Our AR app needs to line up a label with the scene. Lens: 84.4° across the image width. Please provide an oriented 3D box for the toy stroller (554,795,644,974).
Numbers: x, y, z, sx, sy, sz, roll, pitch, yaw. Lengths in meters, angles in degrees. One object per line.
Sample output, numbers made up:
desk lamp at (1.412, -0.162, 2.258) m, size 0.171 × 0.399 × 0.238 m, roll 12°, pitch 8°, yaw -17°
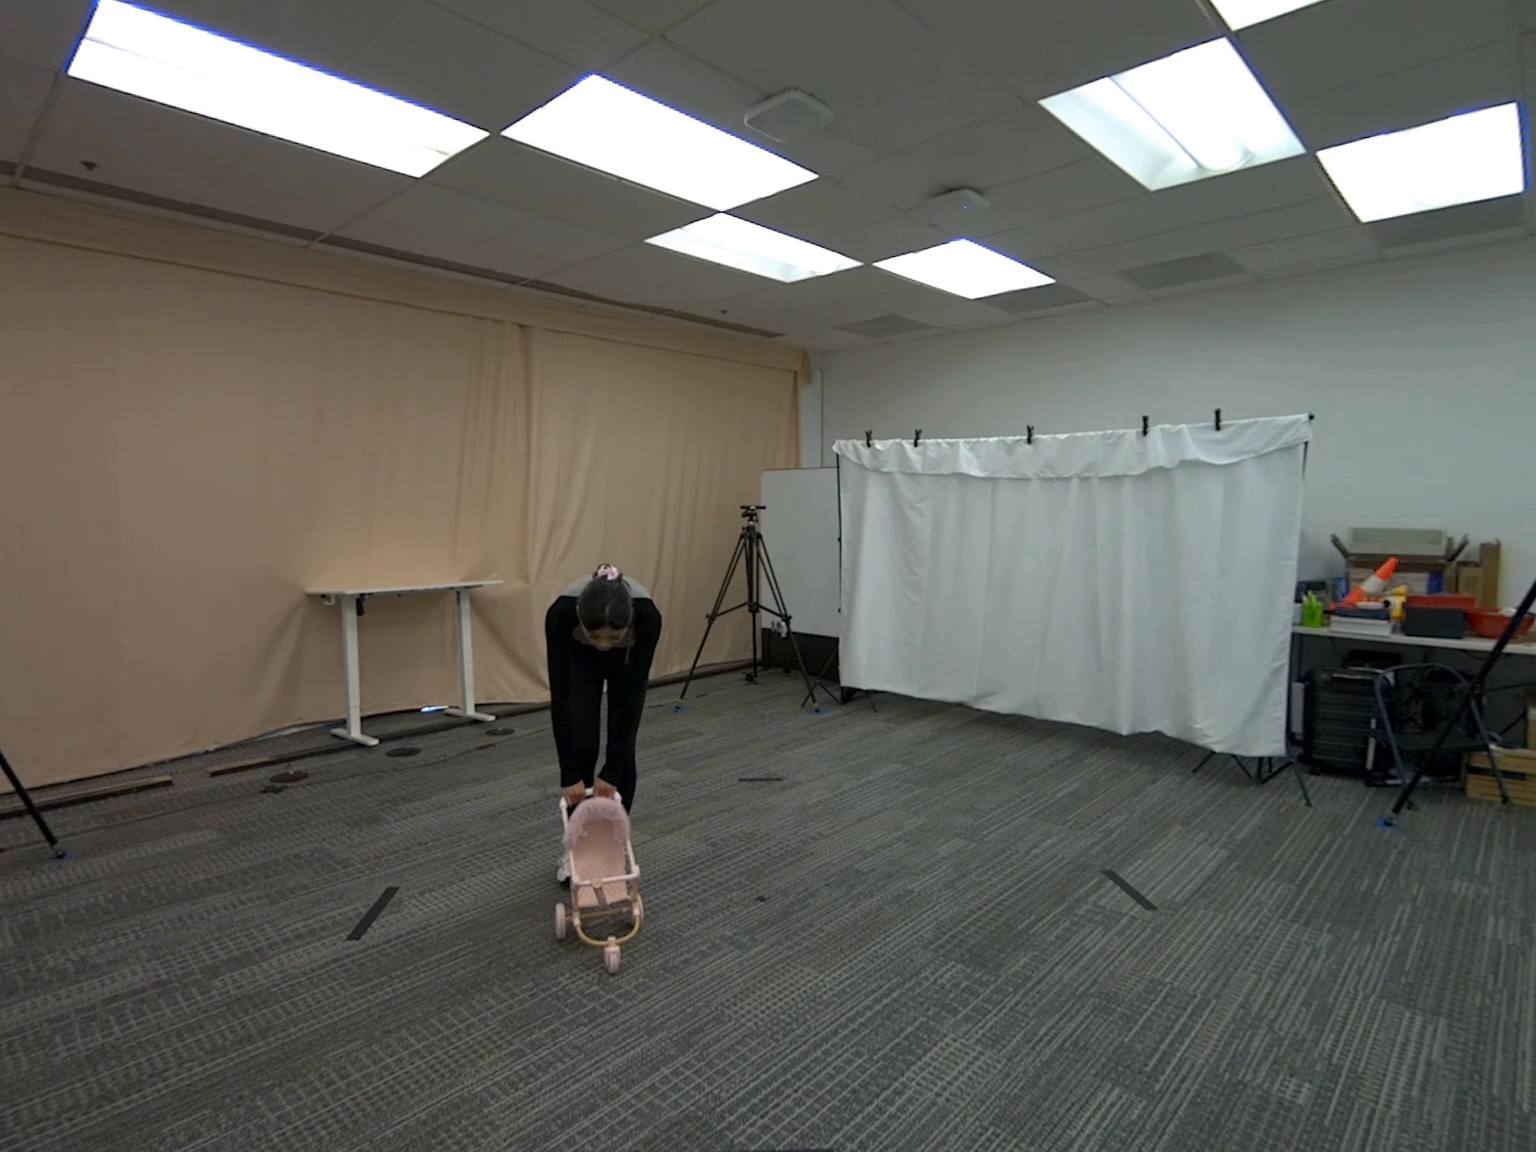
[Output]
toy stroller at (-0.533, 0.951, 2.684) m, size 0.277 × 0.540 × 0.344 m, roll -2°, pitch -13°, yaw -16°
